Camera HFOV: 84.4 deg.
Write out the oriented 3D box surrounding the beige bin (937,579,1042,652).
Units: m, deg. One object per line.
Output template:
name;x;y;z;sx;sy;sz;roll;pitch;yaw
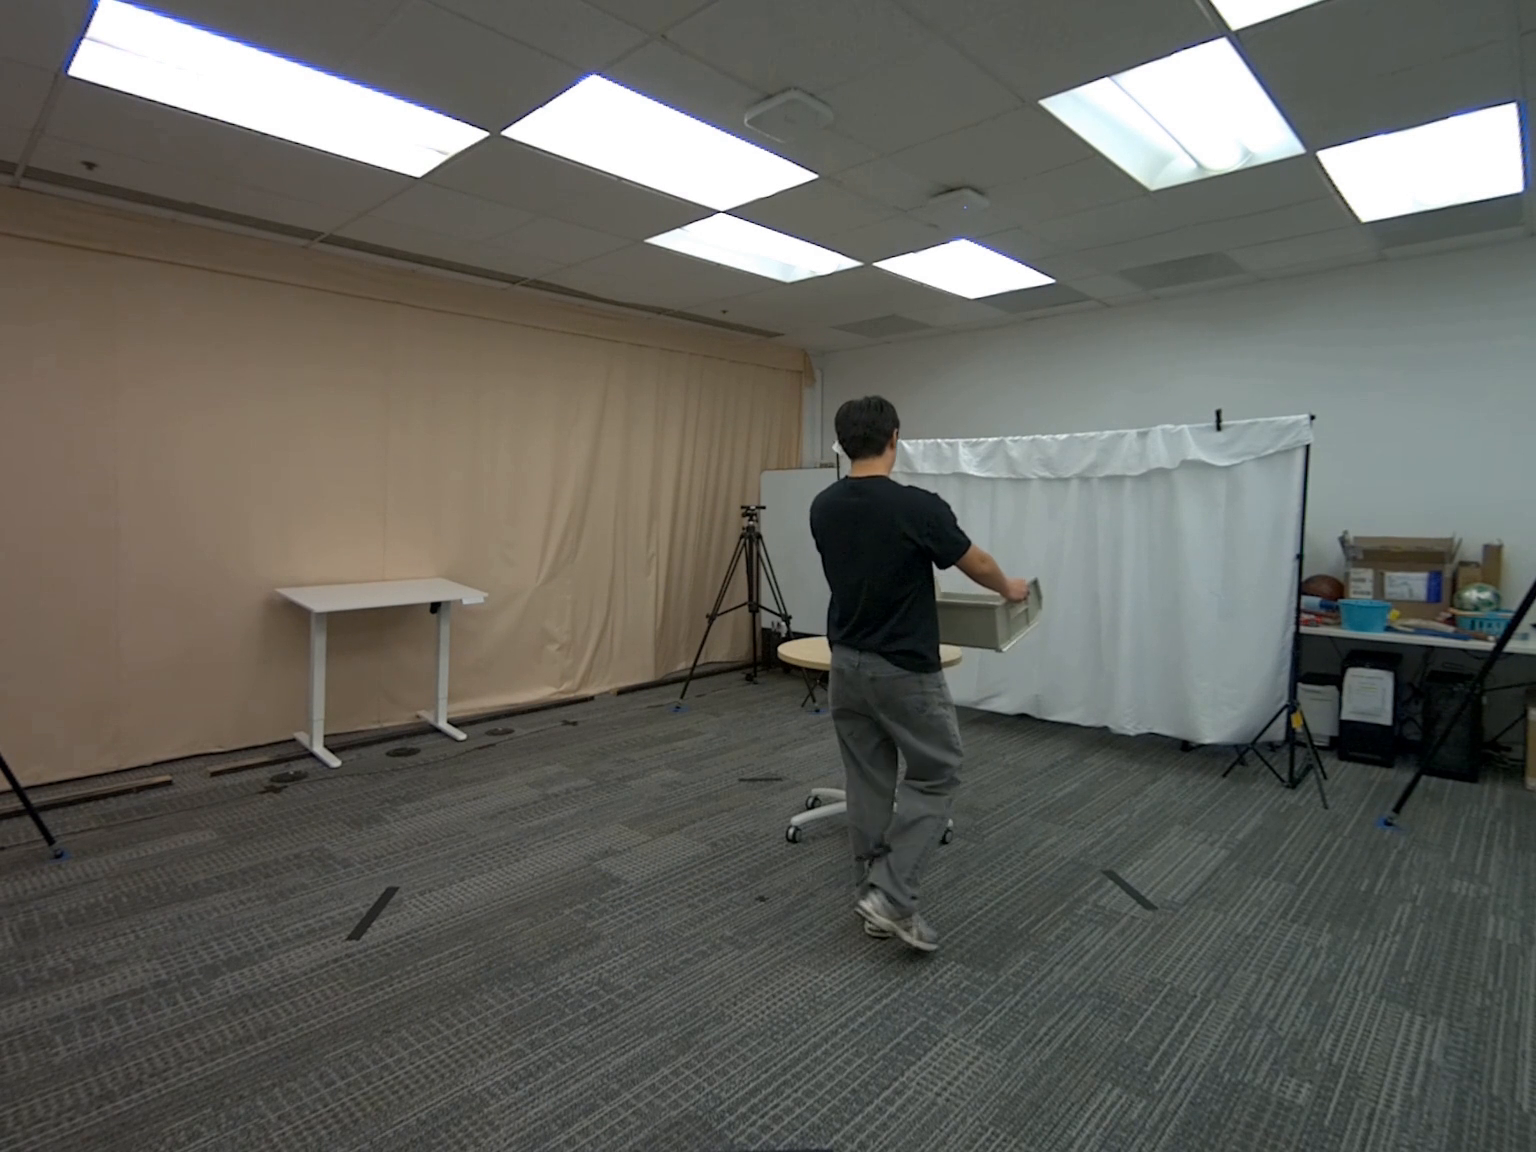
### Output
beige bin;0.732;0.127;3.098;0.436;0.187;0.369;3;19;41
